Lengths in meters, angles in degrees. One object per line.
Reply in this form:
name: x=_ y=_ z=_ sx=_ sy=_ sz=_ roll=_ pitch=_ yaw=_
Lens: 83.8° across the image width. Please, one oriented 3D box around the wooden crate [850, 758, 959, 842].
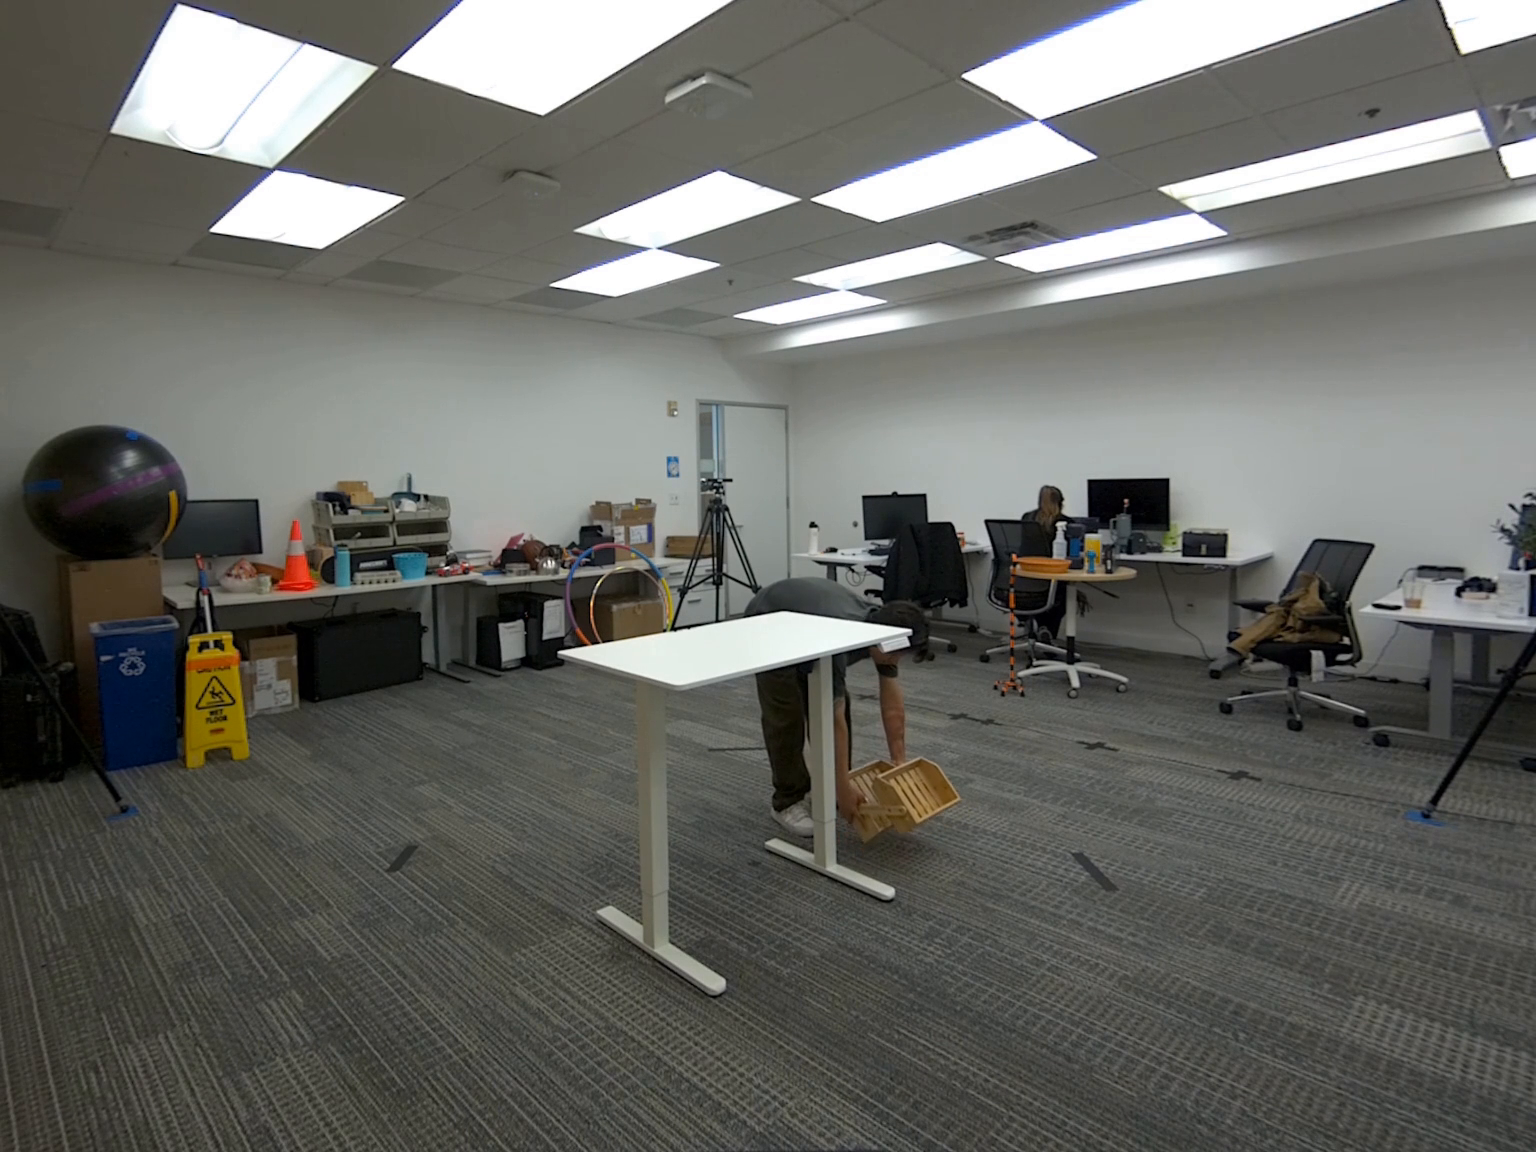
wooden crate: x=0.482 y=0.812 z=3.213 sx=0.316 sy=0.311 sz=0.272 roll=-9 pitch=-35 yaw=-47
